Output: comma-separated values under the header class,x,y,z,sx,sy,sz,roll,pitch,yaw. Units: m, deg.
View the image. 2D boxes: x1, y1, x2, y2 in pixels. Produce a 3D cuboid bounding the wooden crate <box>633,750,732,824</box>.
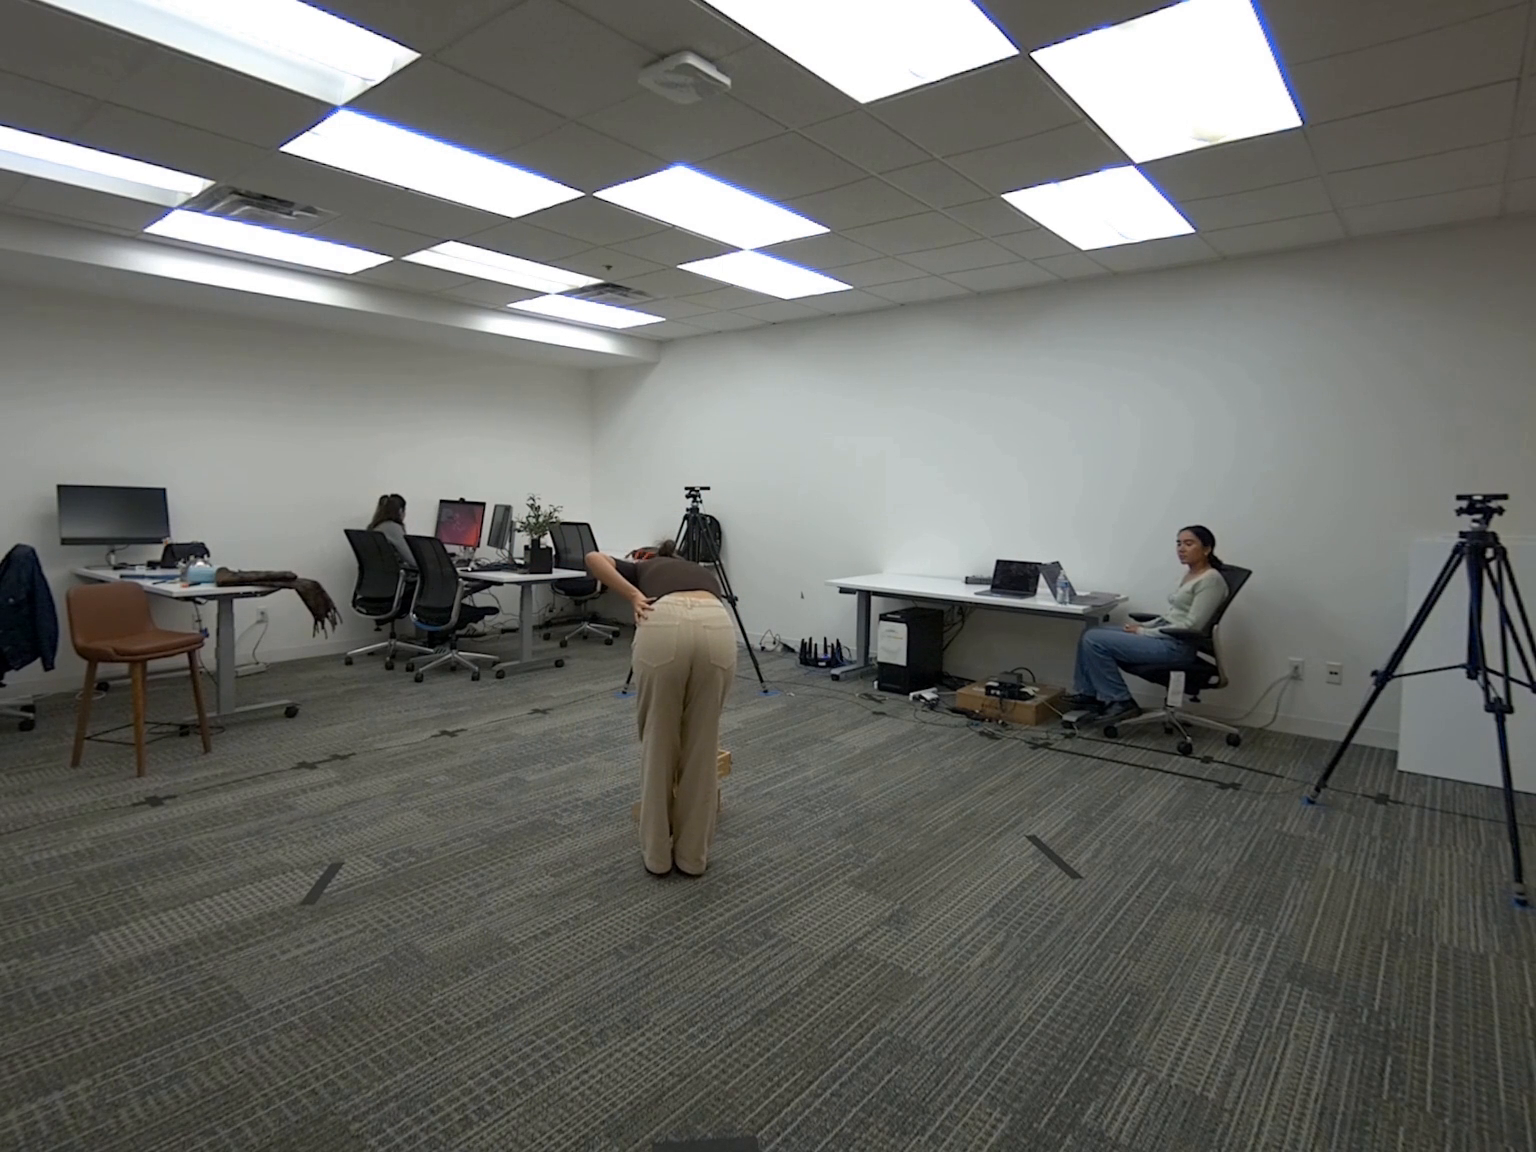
class,x,y,z,sx,sy,sz,roll,pitch,yaw
wooden crate,-0.376,0.874,3.604,0.311,0.272,0.316,5,6,32
